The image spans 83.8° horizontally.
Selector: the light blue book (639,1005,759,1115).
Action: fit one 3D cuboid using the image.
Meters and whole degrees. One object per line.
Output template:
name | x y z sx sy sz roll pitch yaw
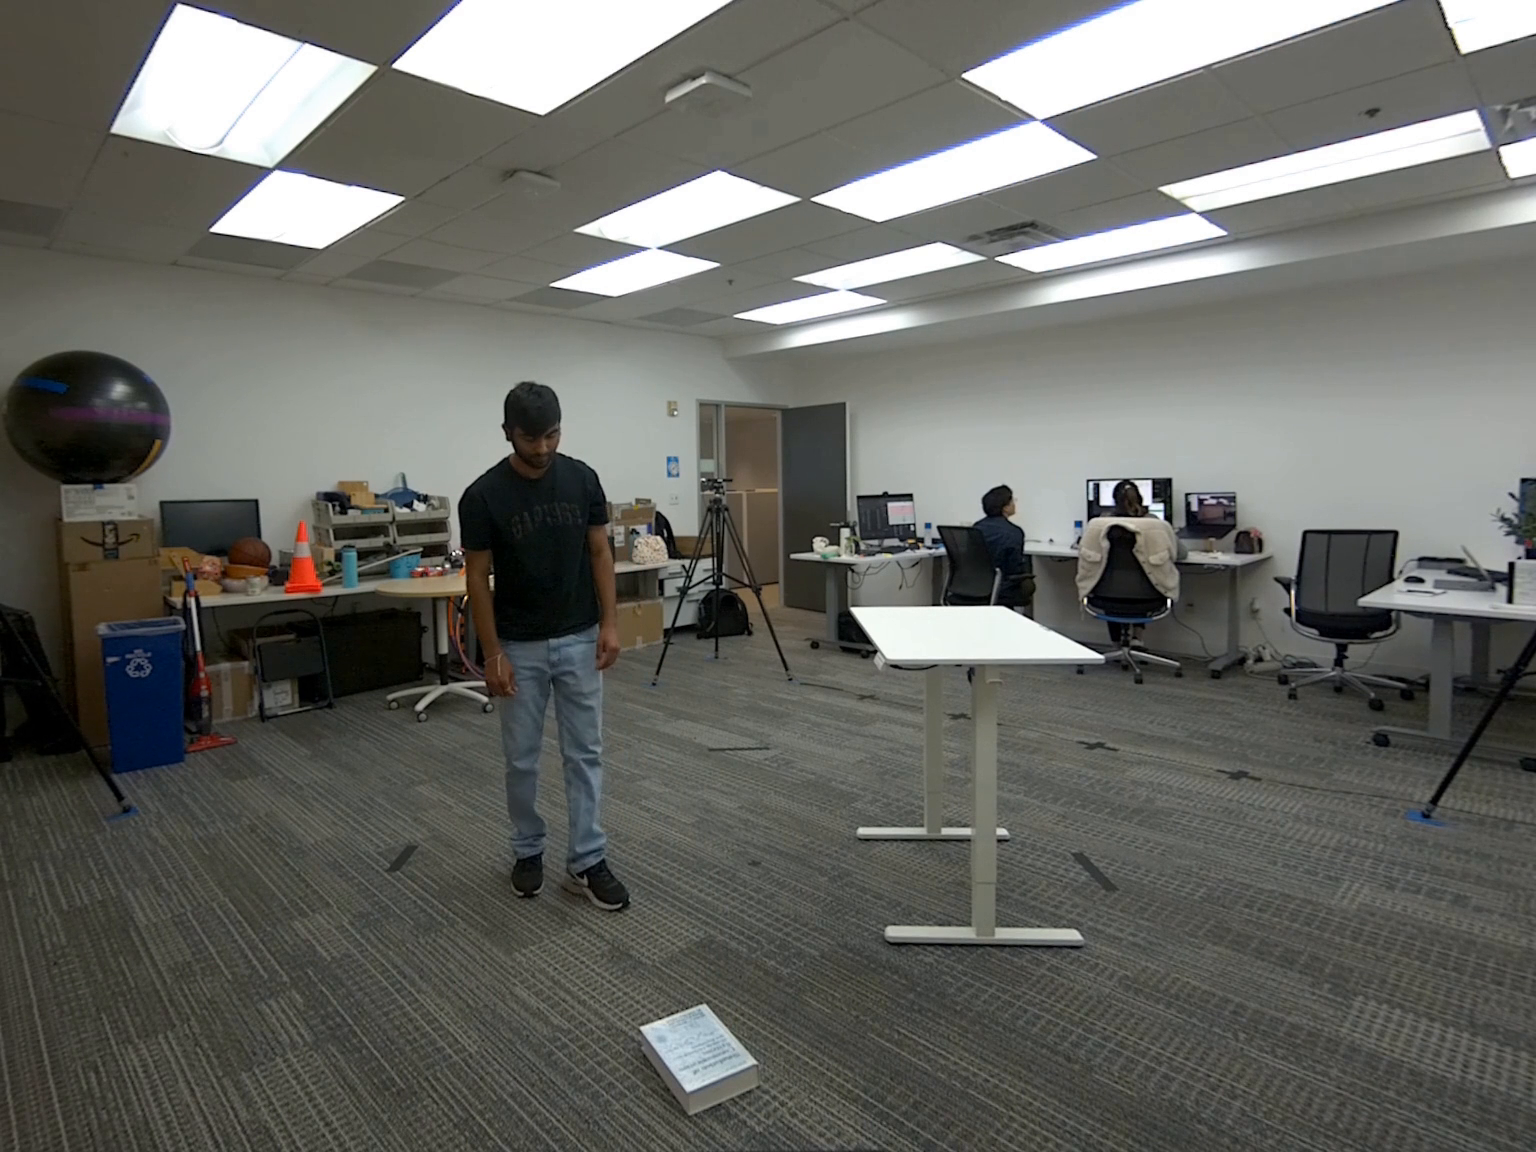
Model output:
light blue book | -0.159 1.144 2.032 0.187 0.059 0.268 -6 8 -30
